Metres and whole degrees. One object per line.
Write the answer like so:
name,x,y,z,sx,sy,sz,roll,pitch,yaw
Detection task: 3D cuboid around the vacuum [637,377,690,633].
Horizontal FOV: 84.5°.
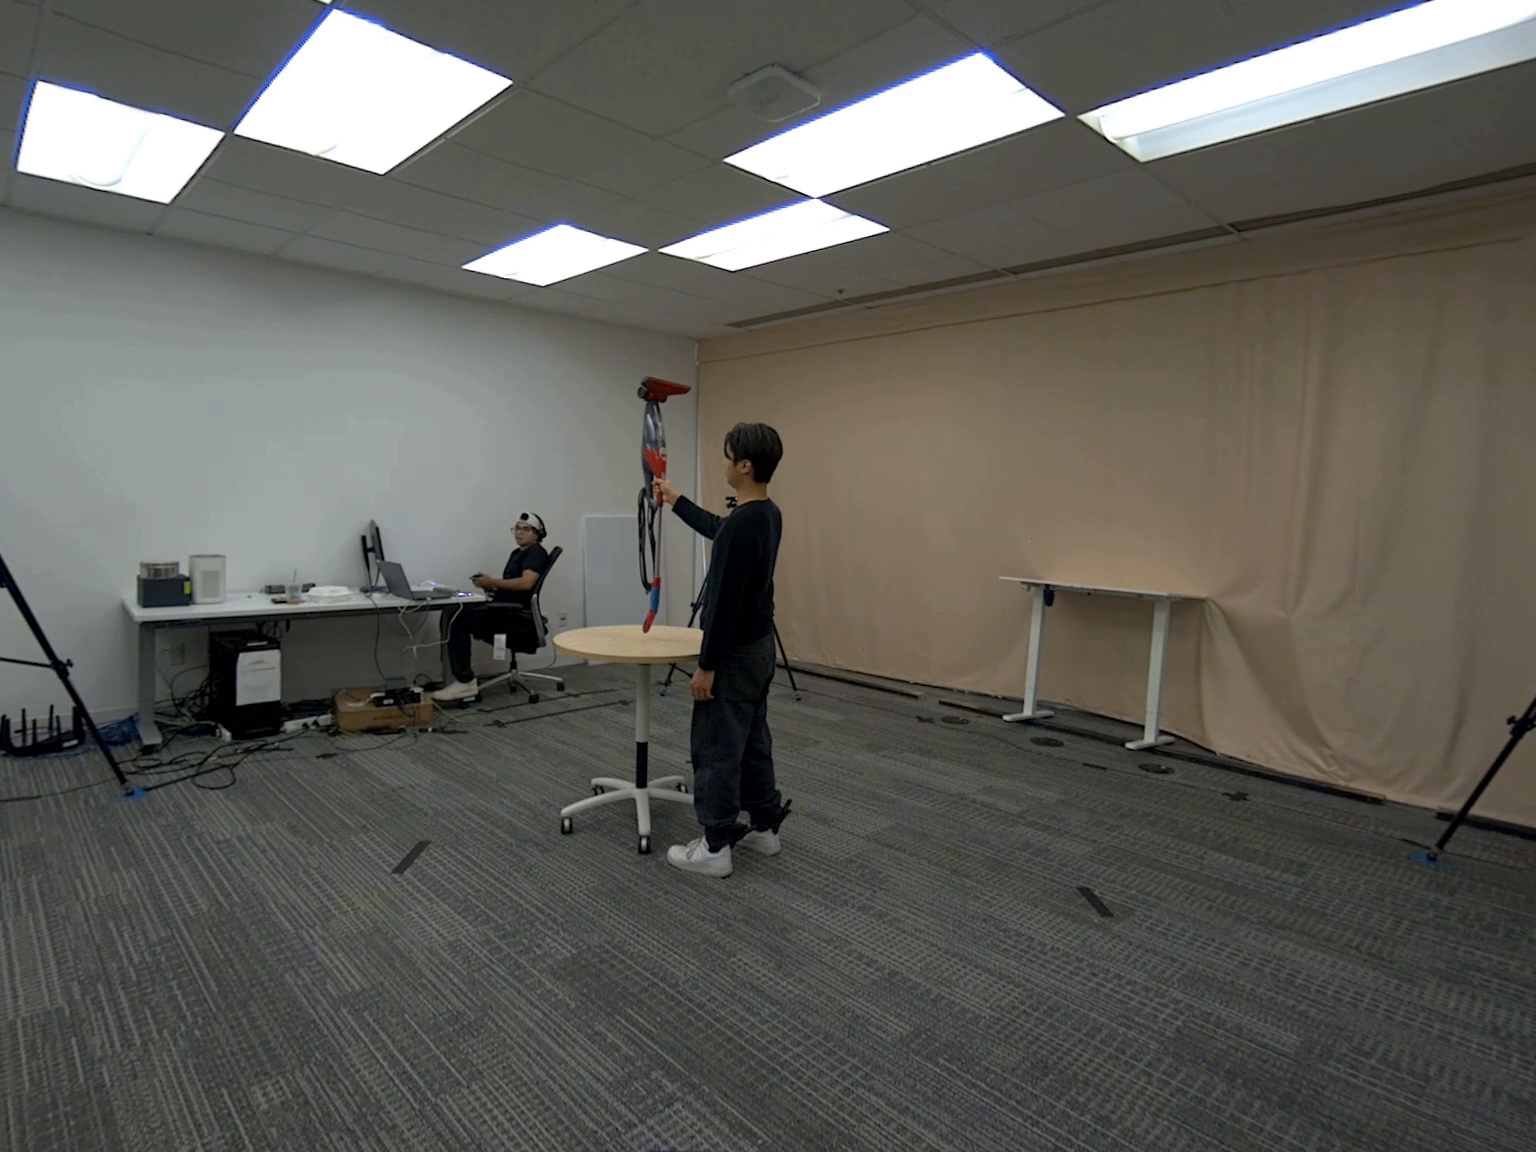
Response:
vacuum,-0.505,-0.291,3.597,0.147,1.049,0.246,3,0,41
